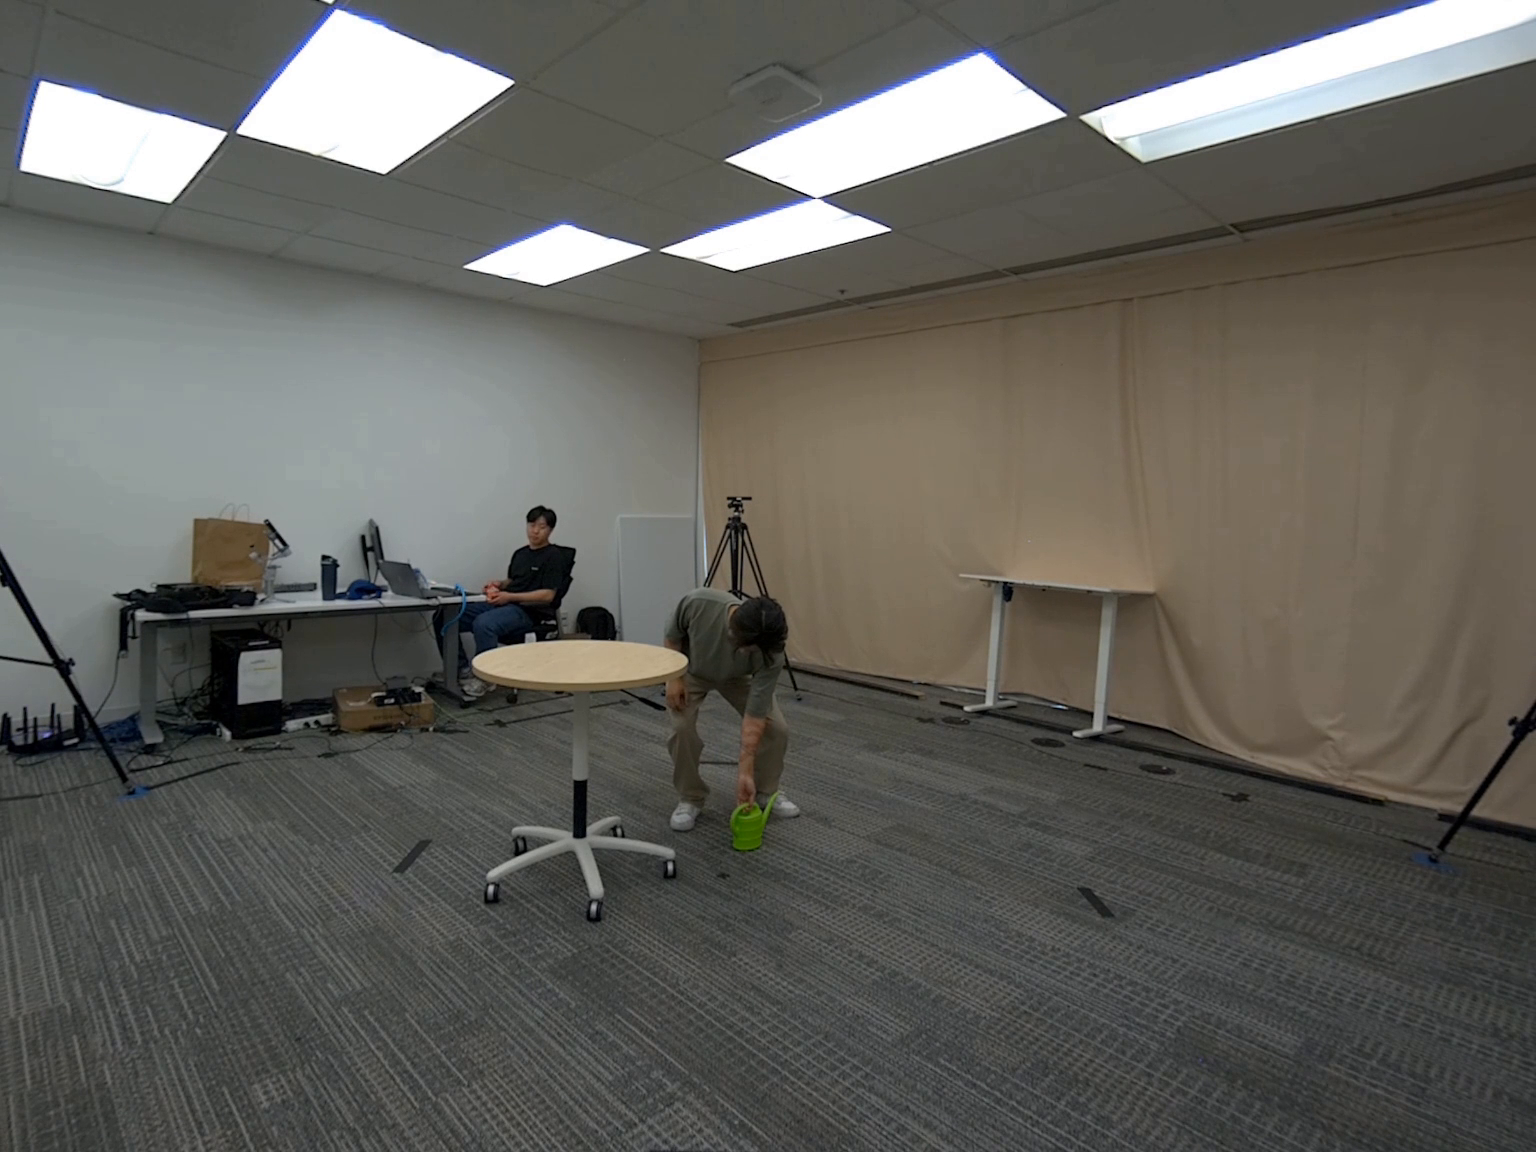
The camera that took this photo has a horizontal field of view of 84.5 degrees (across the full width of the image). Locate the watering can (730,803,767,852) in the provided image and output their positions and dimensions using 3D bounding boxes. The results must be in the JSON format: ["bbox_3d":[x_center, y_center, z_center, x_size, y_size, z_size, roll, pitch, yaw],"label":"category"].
[{"bbox_3d":[-0.055,0.991,3.395,0.272,0.176,0.100,-3,6,-35],"label":"watering can"}]
